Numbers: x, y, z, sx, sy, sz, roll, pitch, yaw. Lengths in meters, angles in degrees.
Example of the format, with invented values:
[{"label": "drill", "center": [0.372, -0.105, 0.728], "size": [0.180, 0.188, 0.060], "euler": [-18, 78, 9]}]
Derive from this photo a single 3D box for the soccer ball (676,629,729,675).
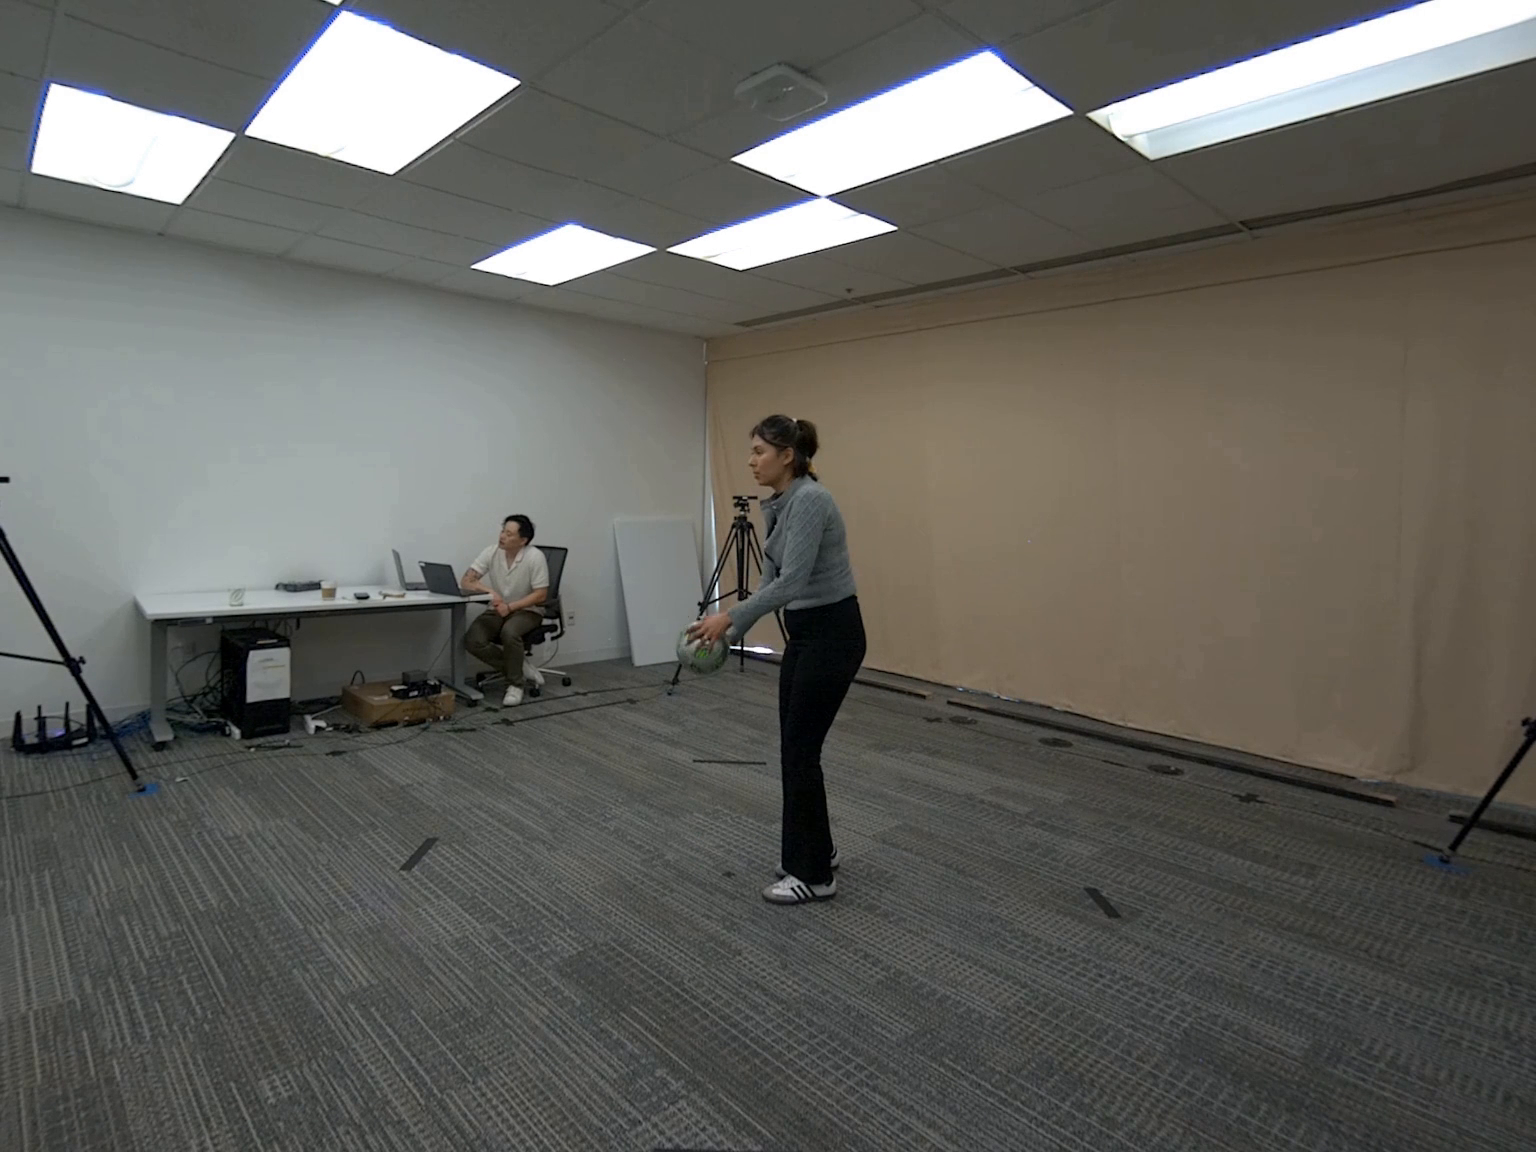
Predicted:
[{"label": "soccer ball", "center": [-0.234, 0.251, 2.931], "size": [0.187, 0.187, 0.188], "euler": [1, 4, -1]}]
